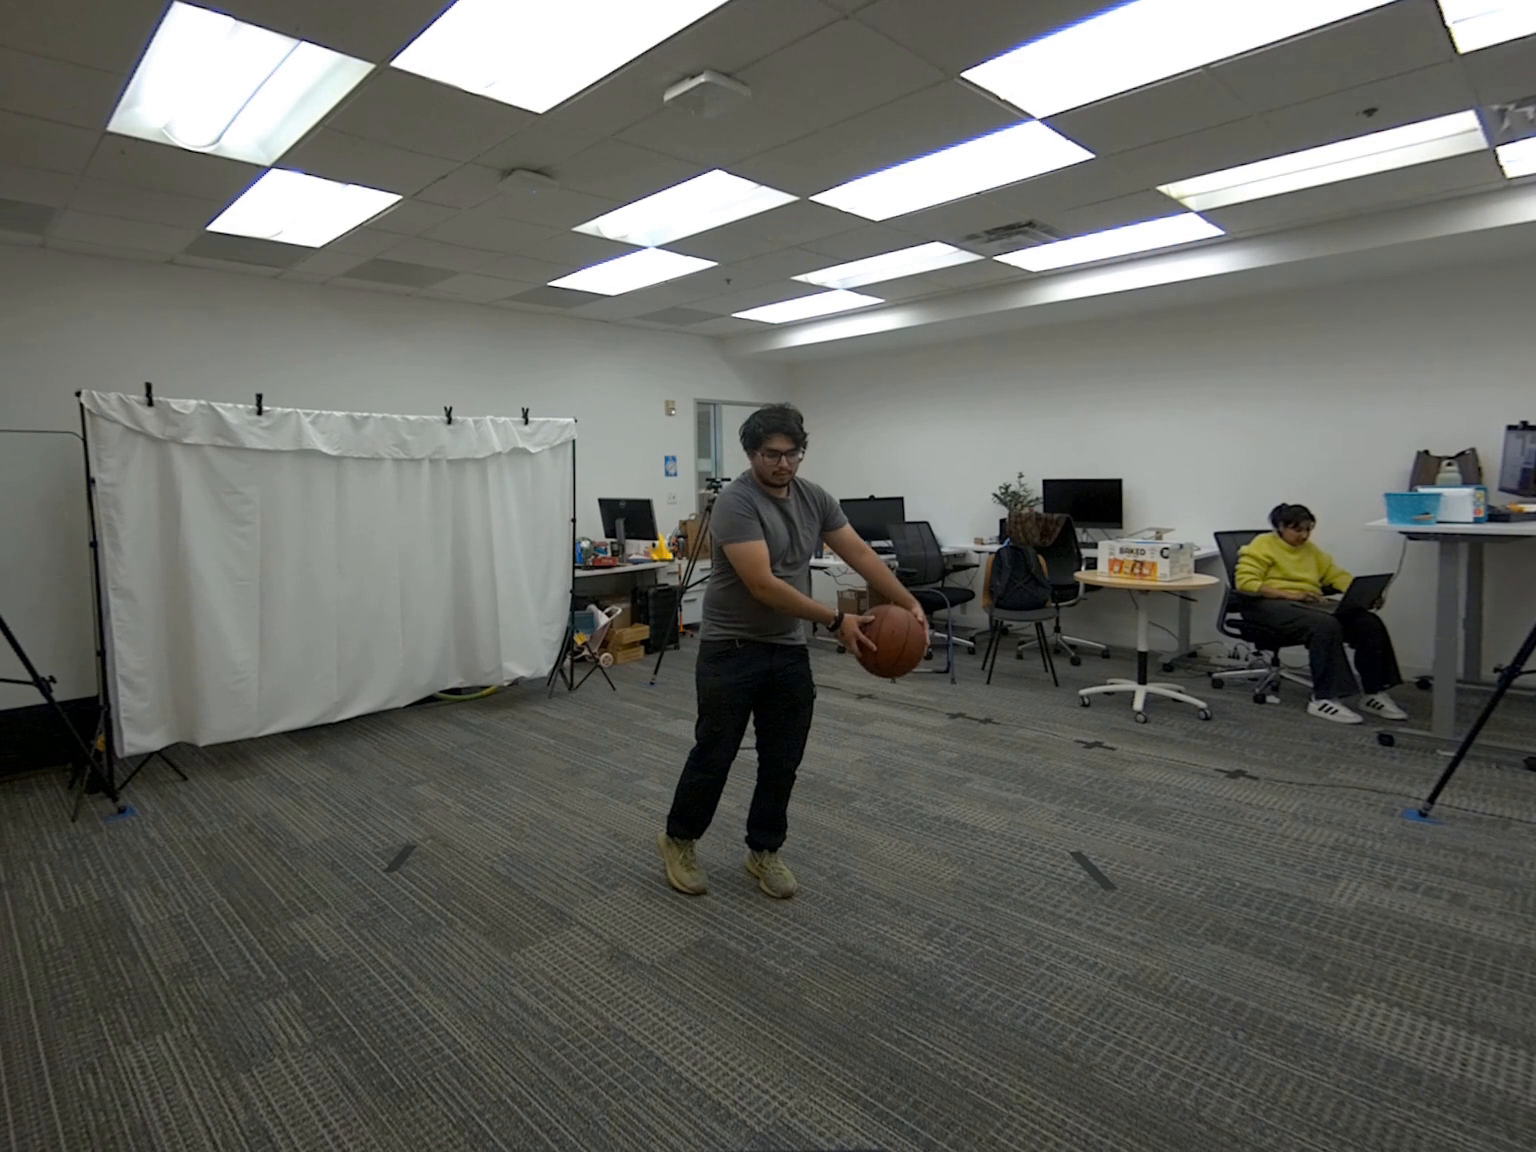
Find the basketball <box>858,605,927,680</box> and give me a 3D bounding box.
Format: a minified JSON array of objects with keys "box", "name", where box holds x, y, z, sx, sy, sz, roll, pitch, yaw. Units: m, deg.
[{"box":[0.386,0.212,2.790,0.236,0.235,0.237,-1,5,-2],"name":"basketball"}]
